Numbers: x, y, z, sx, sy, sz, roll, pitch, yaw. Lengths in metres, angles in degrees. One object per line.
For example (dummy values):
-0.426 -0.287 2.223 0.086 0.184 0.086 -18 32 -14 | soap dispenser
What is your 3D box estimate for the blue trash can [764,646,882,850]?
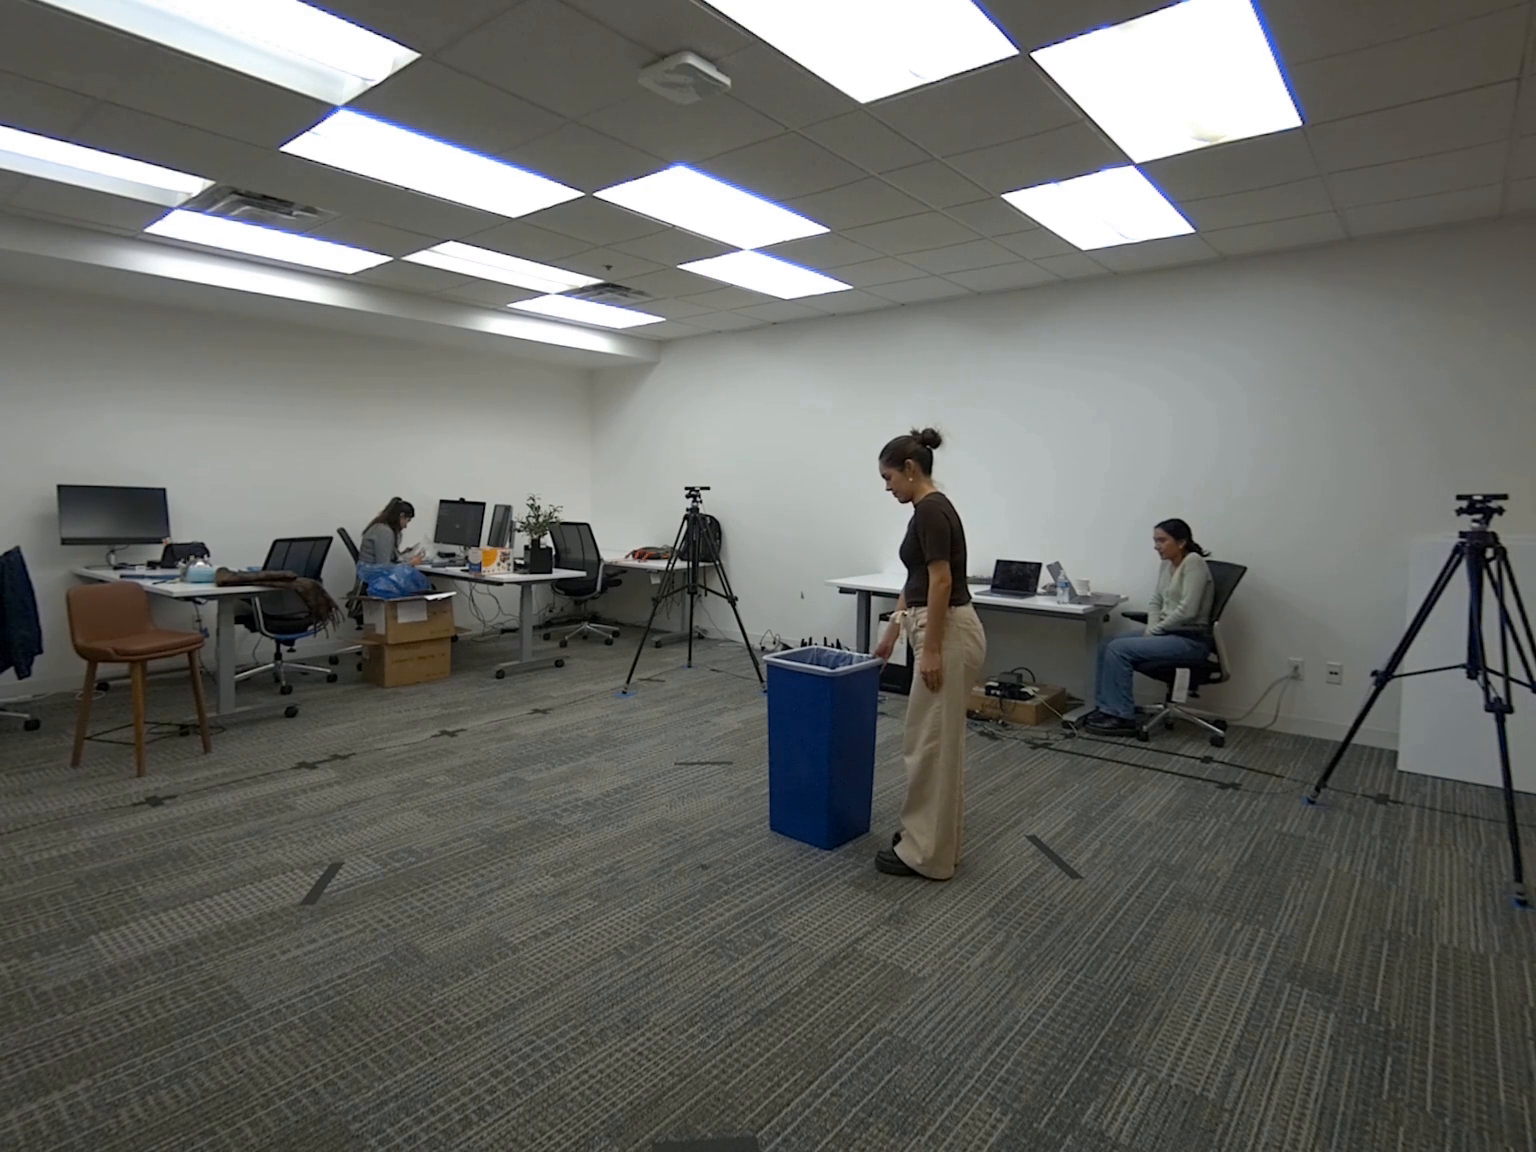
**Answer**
0.201 0.678 3.463 0.387 0.711 0.367 4 5 41 | blue trash can
